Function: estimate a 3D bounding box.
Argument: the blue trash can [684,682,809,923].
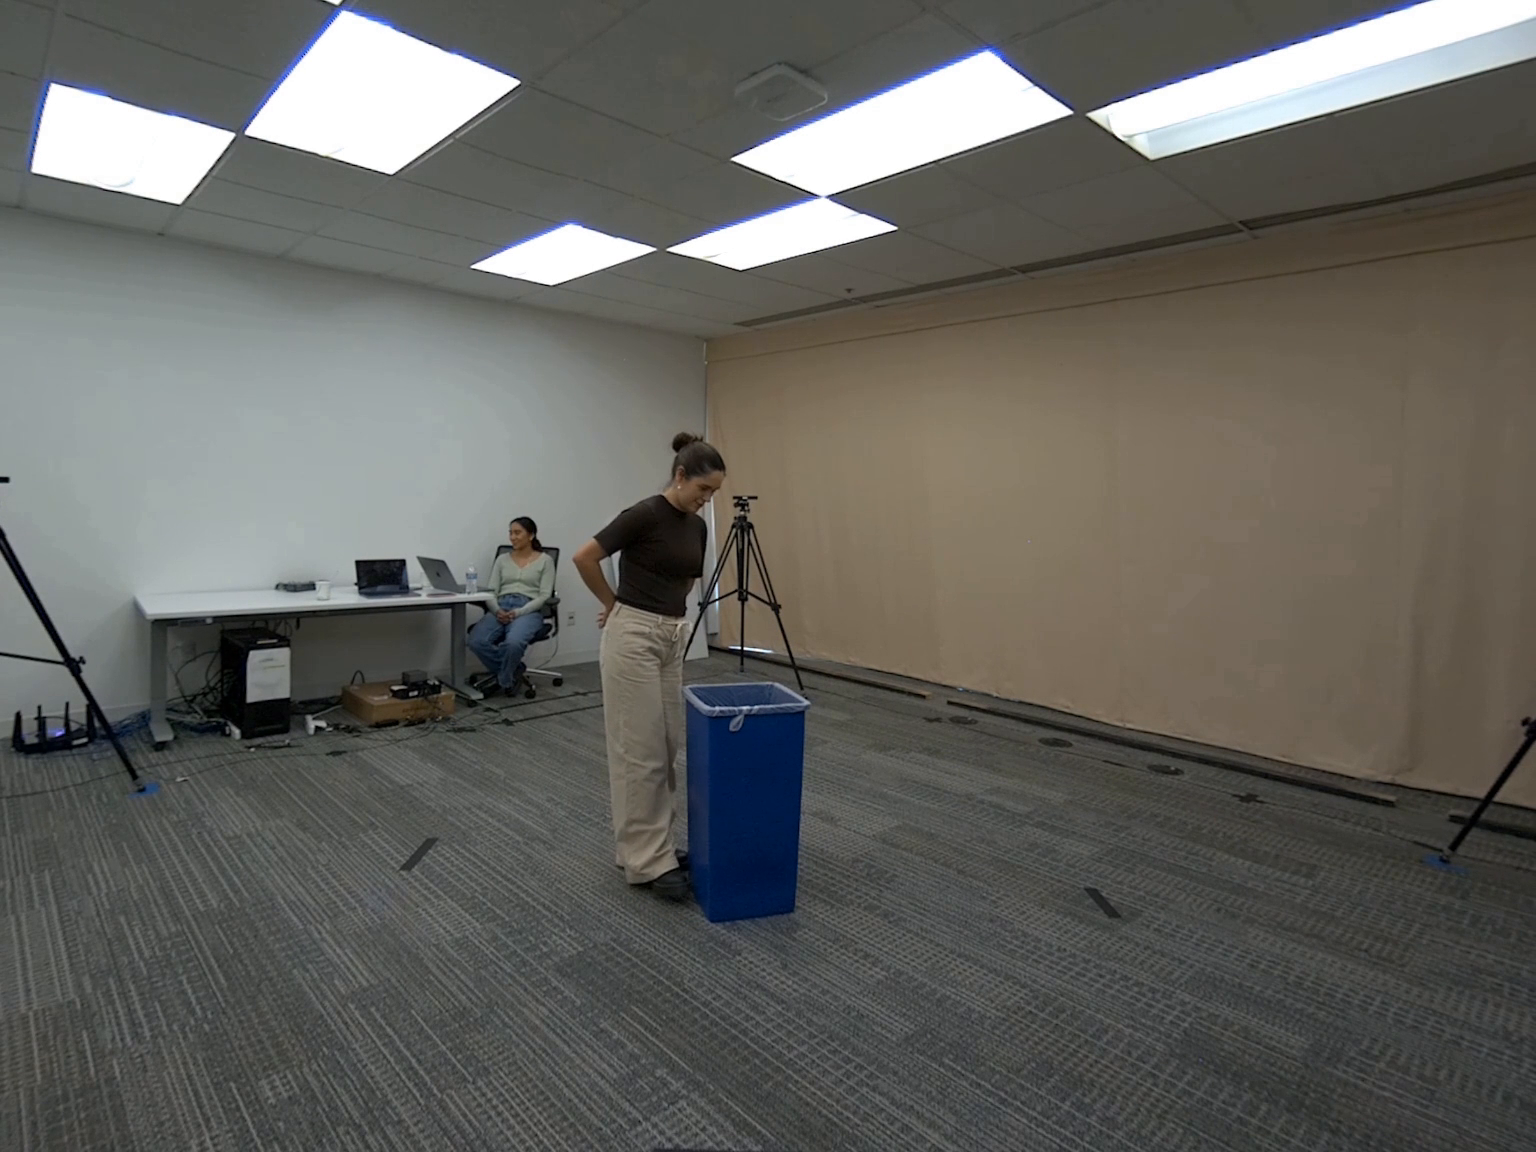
[{"bbox_3d":[-0.092,0.762,2.915,0.368,0.712,0.384,0,3,-20],"label":"blue trash can"}]
